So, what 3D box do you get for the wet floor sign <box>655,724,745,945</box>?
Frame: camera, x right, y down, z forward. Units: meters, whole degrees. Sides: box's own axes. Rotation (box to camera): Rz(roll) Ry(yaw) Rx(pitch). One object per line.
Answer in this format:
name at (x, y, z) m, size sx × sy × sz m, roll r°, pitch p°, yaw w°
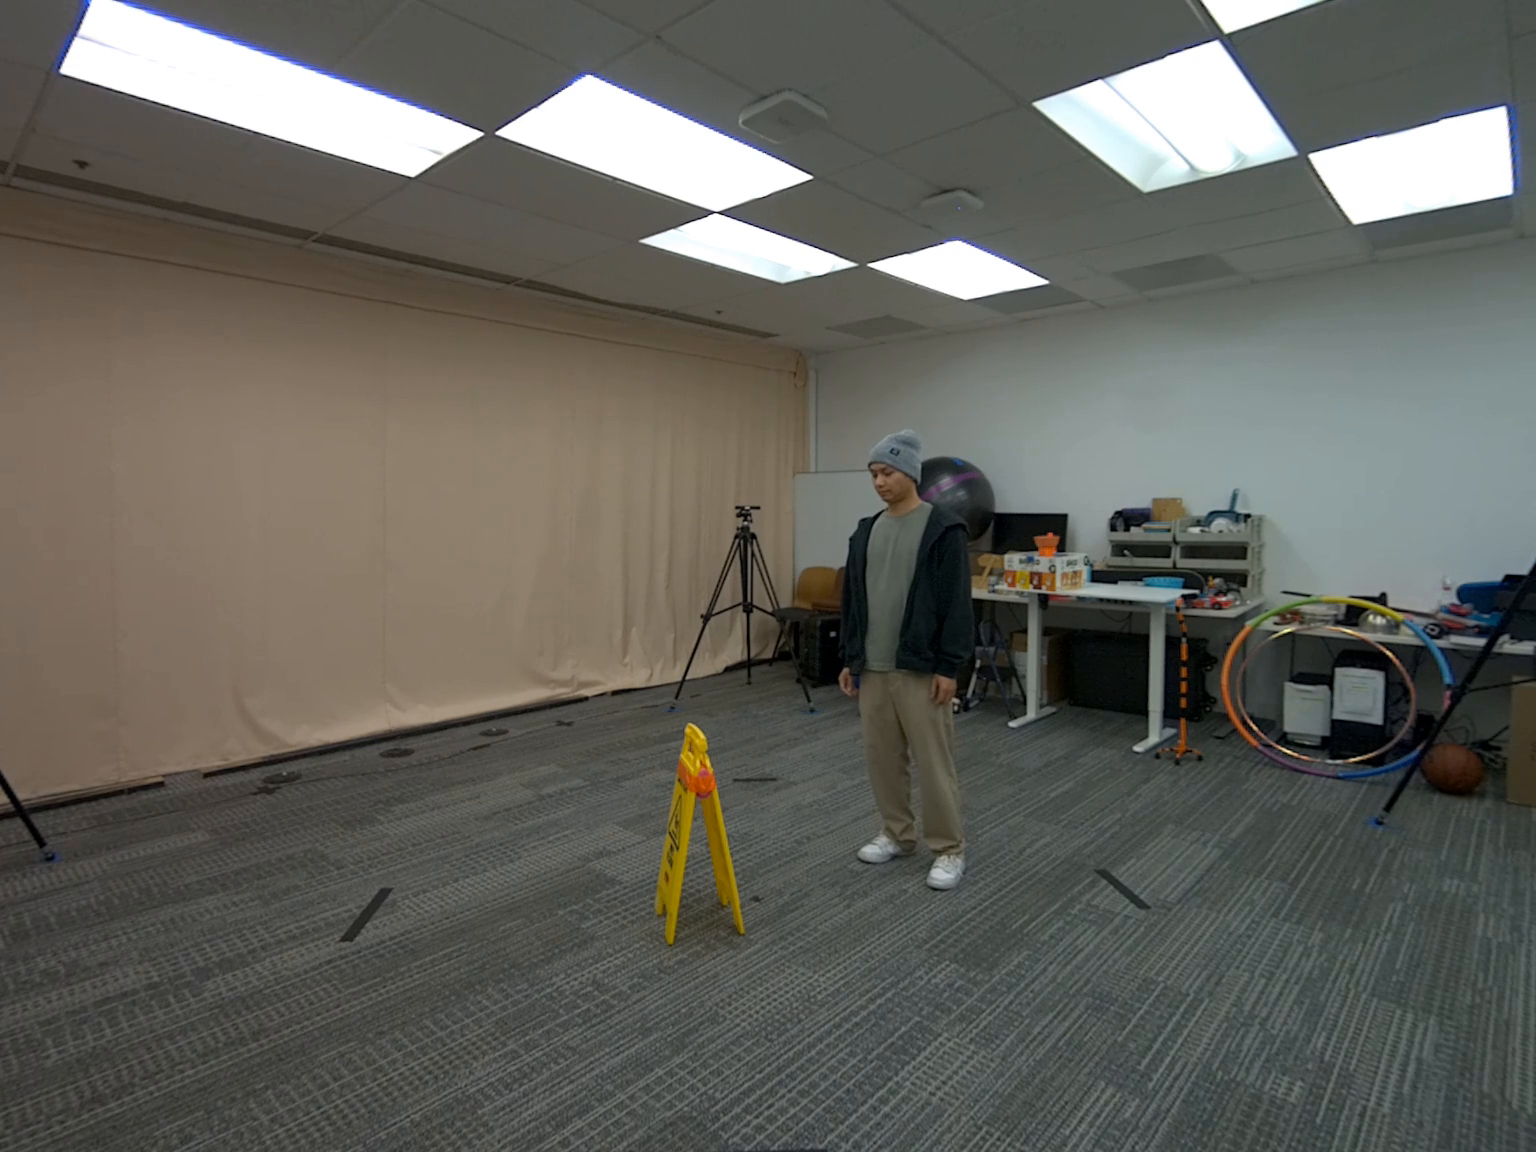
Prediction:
wet floor sign at (-0.239, 0.831, 2.807) m, size 0.285 × 0.645 × 0.287 m, roll -1°, pitch 2°, yaw -16°
